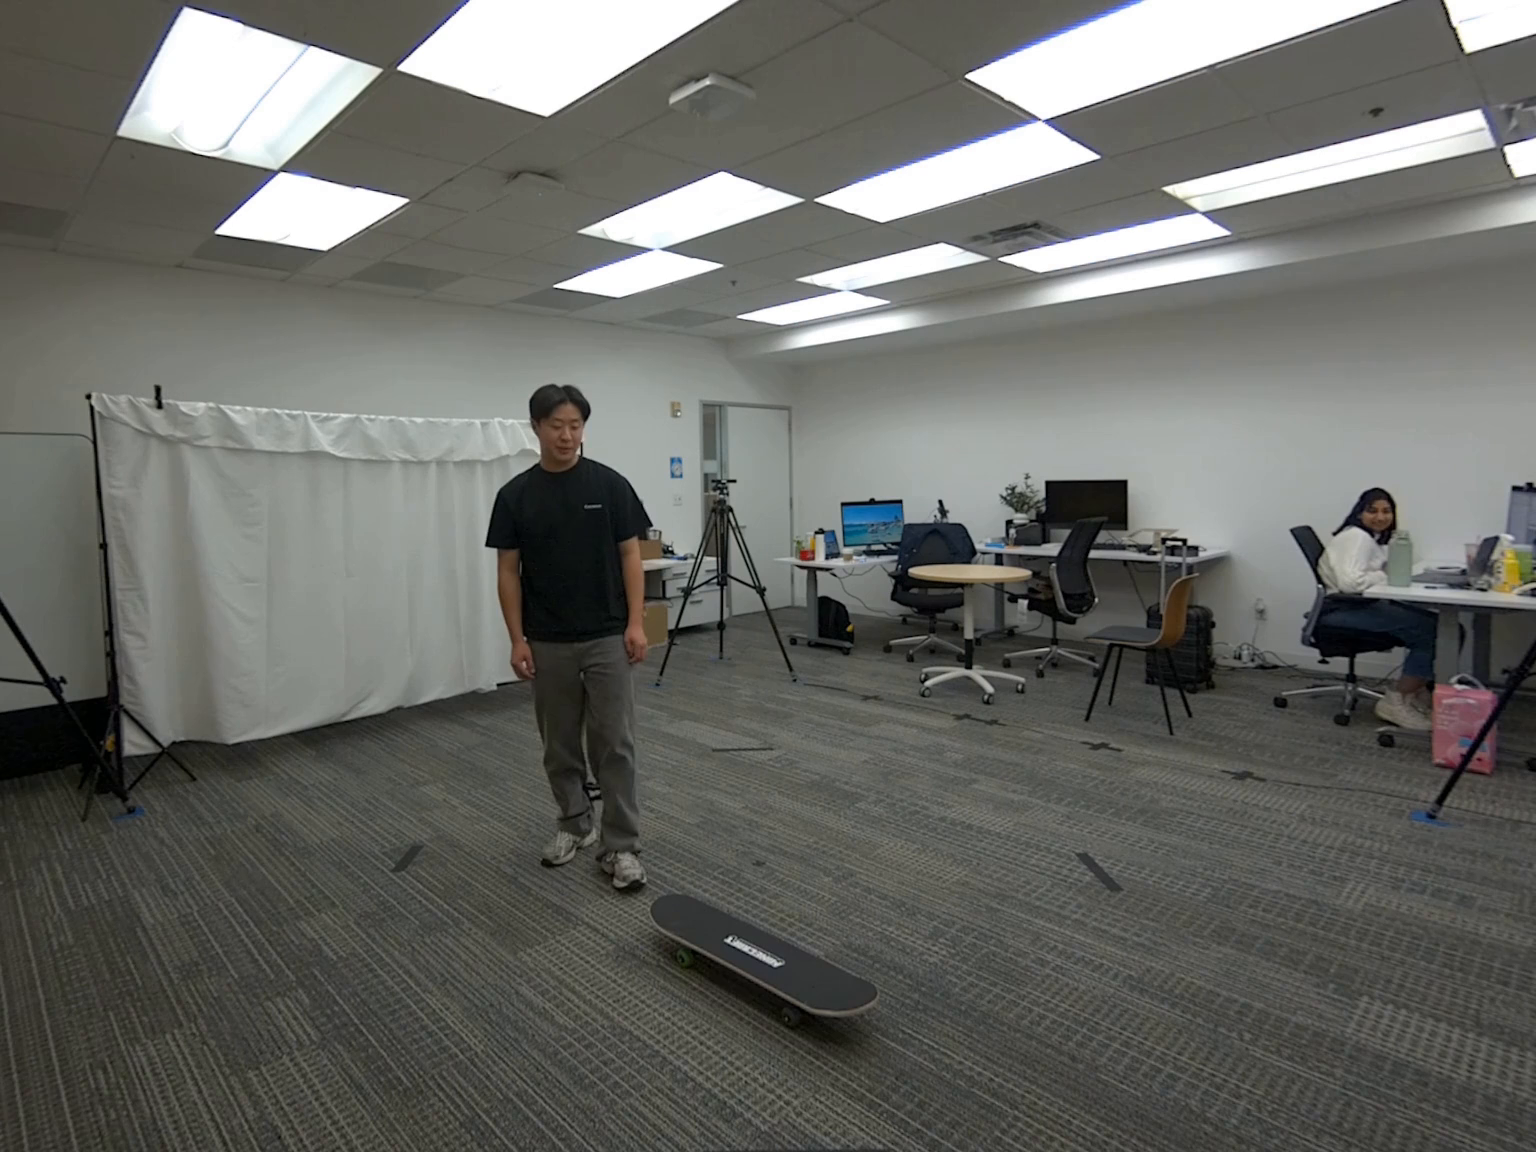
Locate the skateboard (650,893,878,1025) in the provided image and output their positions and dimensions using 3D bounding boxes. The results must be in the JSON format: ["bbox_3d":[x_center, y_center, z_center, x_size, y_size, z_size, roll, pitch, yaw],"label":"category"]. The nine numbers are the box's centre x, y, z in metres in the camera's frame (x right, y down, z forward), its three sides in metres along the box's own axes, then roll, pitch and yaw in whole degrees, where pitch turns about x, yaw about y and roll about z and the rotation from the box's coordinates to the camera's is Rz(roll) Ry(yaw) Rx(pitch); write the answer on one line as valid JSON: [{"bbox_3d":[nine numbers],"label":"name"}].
[{"bbox_3d":[-0.035,1.076,2.378,0.810,0.110,0.188,5,8,43],"label":"skateboard"}]
